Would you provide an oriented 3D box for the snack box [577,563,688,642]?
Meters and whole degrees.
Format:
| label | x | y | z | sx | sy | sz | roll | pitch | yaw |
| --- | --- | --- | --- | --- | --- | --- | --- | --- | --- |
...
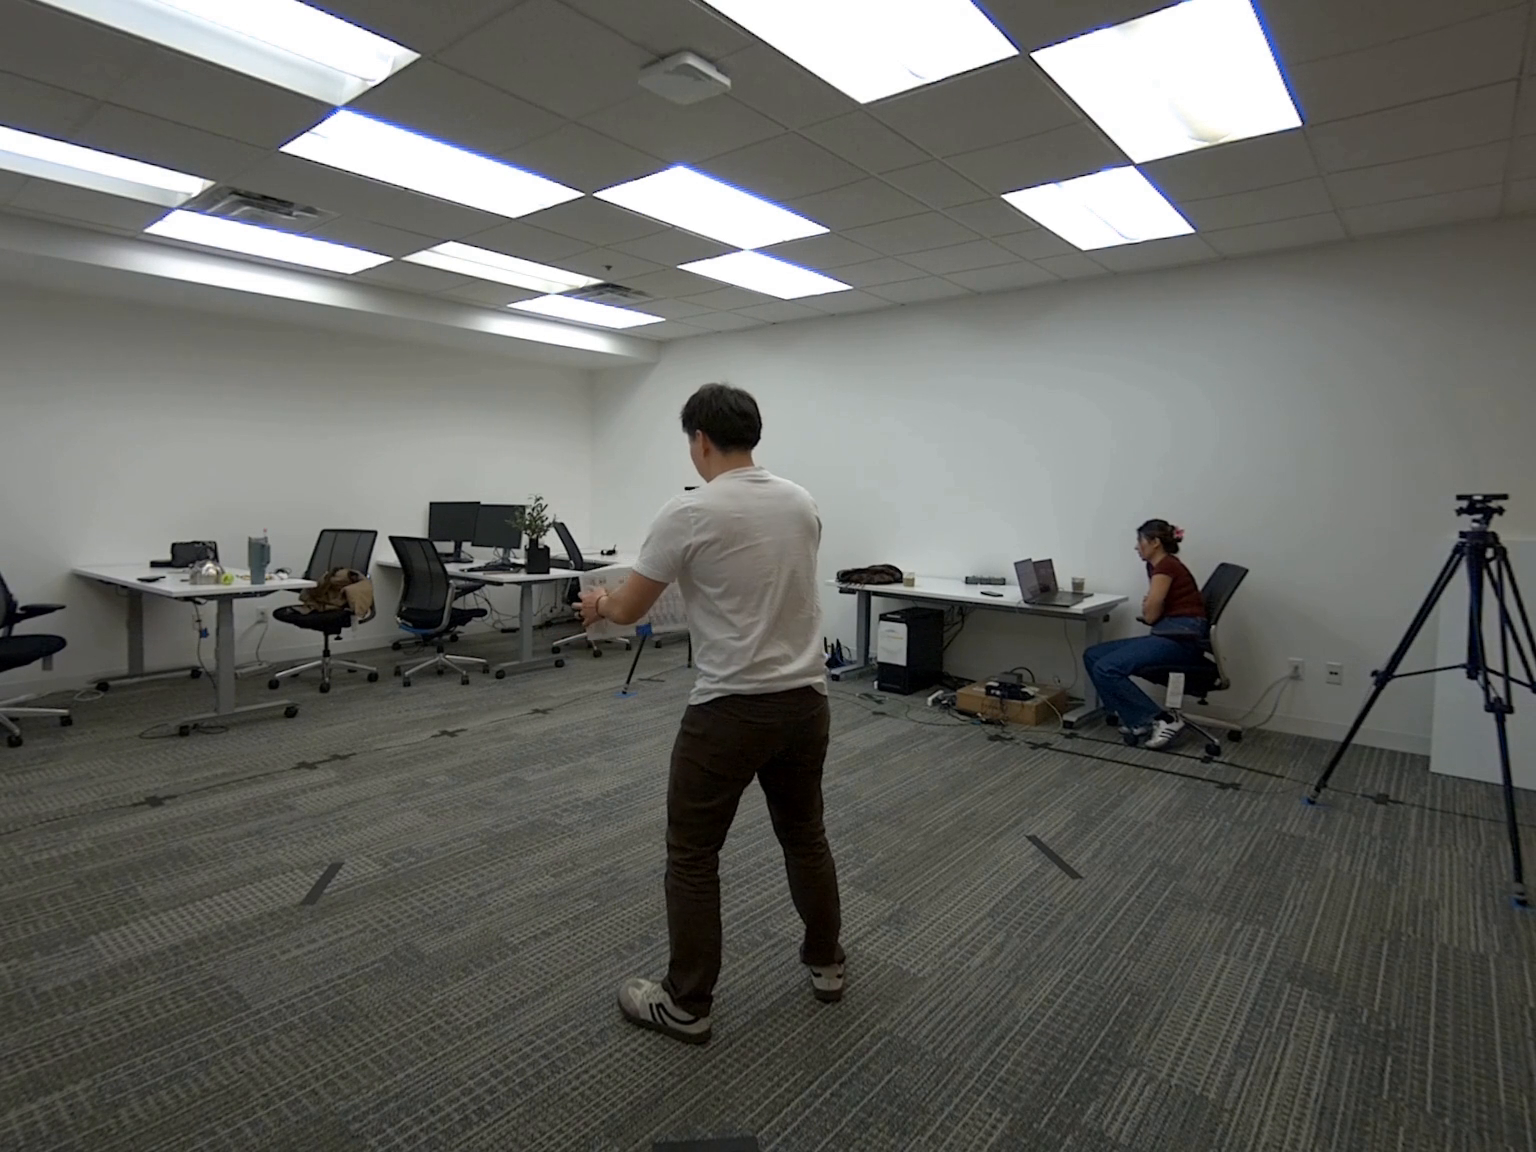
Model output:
| label | x | y | z | sx | sy | sz | roll | pitch | yaw |
| --- | --- | --- | --- | --- | --- | --- | --- | --- | --- |
| snack box | -0.353 | 0.049 | 2.647 | 0.345 | 0.205 | 0.401 | -8 | 4 | 14 |
